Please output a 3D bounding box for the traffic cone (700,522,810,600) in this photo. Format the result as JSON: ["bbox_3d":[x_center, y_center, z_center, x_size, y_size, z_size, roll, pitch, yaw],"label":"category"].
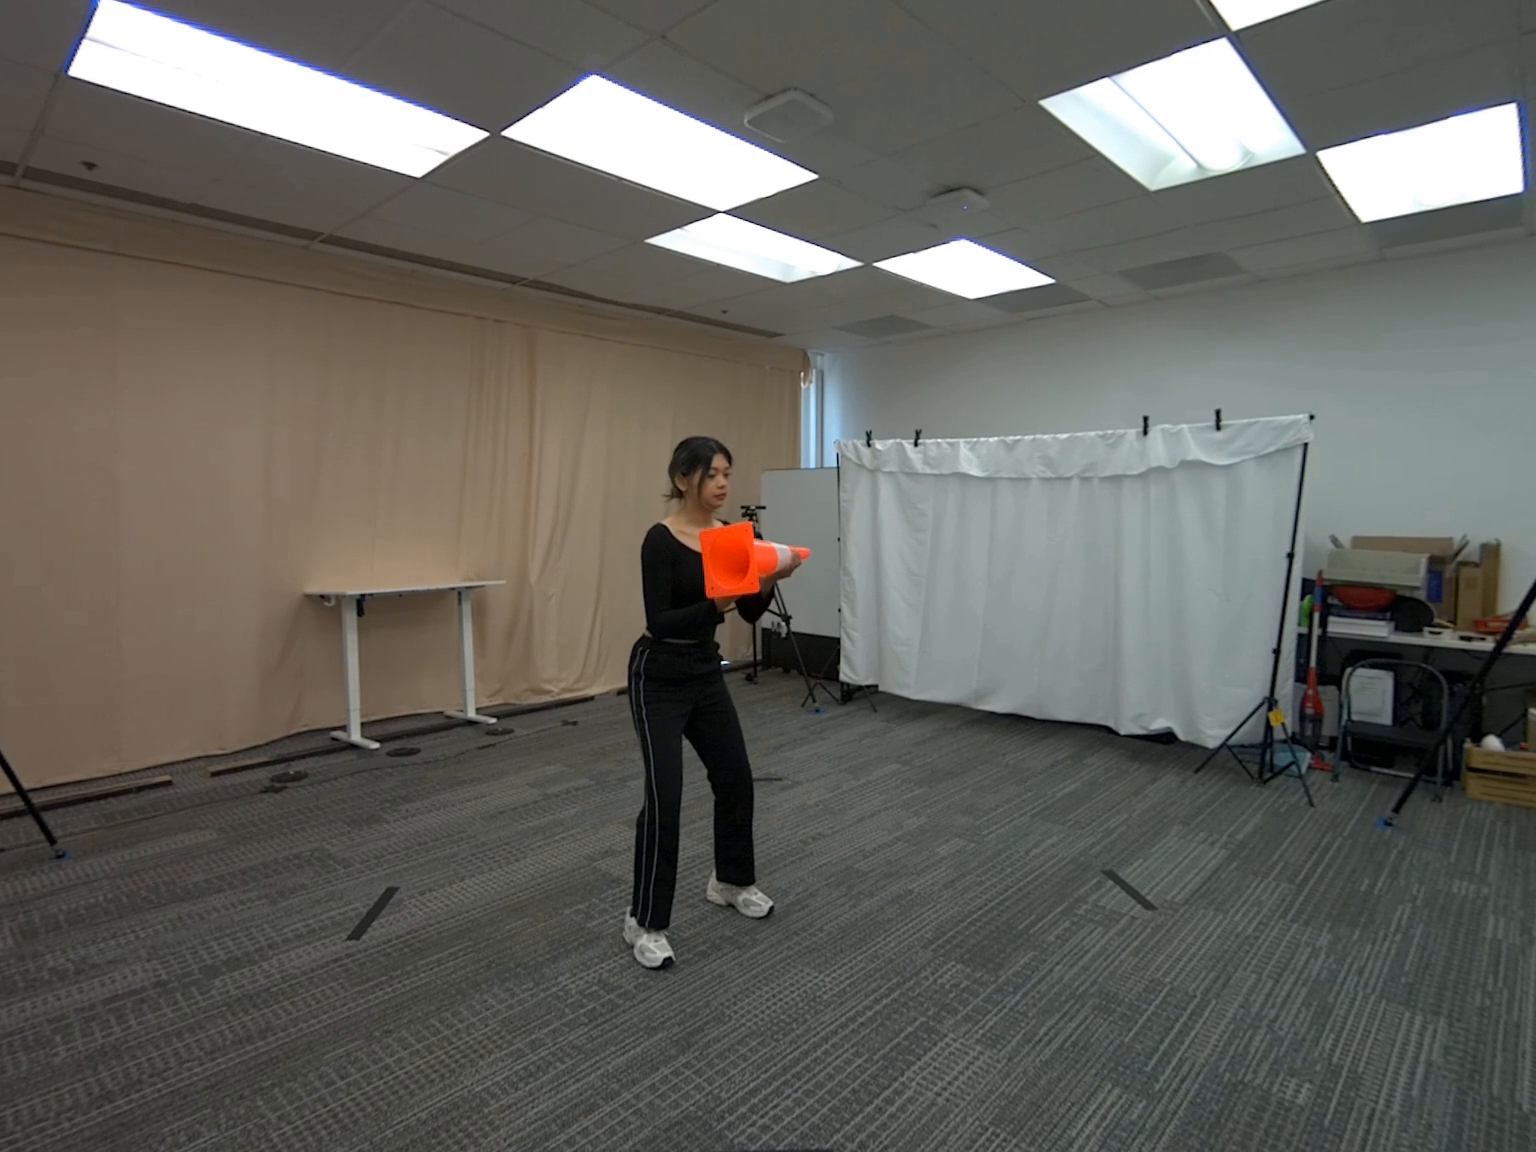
[{"bbox_3d":[-0.002,-0.051,2.539,0.209,0.205,0.372,-9,-1,40],"label":"traffic cone"}]
